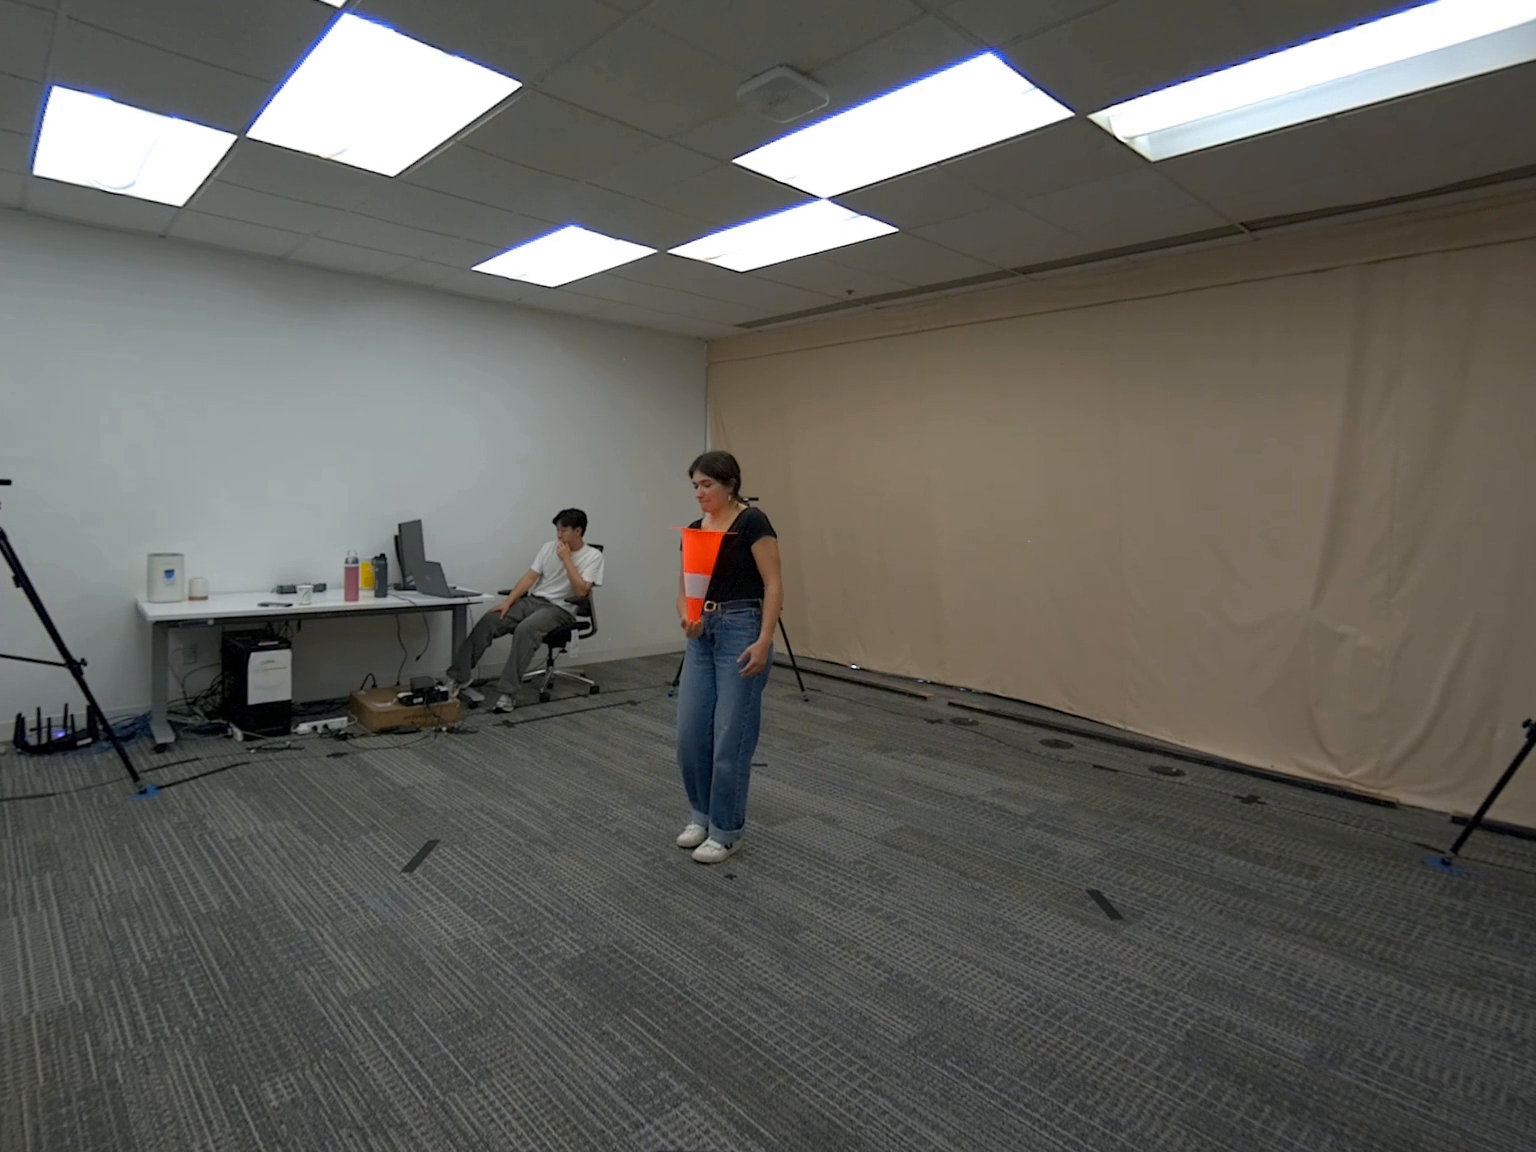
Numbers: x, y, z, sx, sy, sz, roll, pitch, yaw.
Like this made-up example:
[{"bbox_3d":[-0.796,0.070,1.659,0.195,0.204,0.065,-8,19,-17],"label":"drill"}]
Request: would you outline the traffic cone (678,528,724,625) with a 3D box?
[{"bbox_3d":[-0.286,0.025,3.194,0.208,0.384,0.200,9,-2,16],"label":"traffic cone"}]
